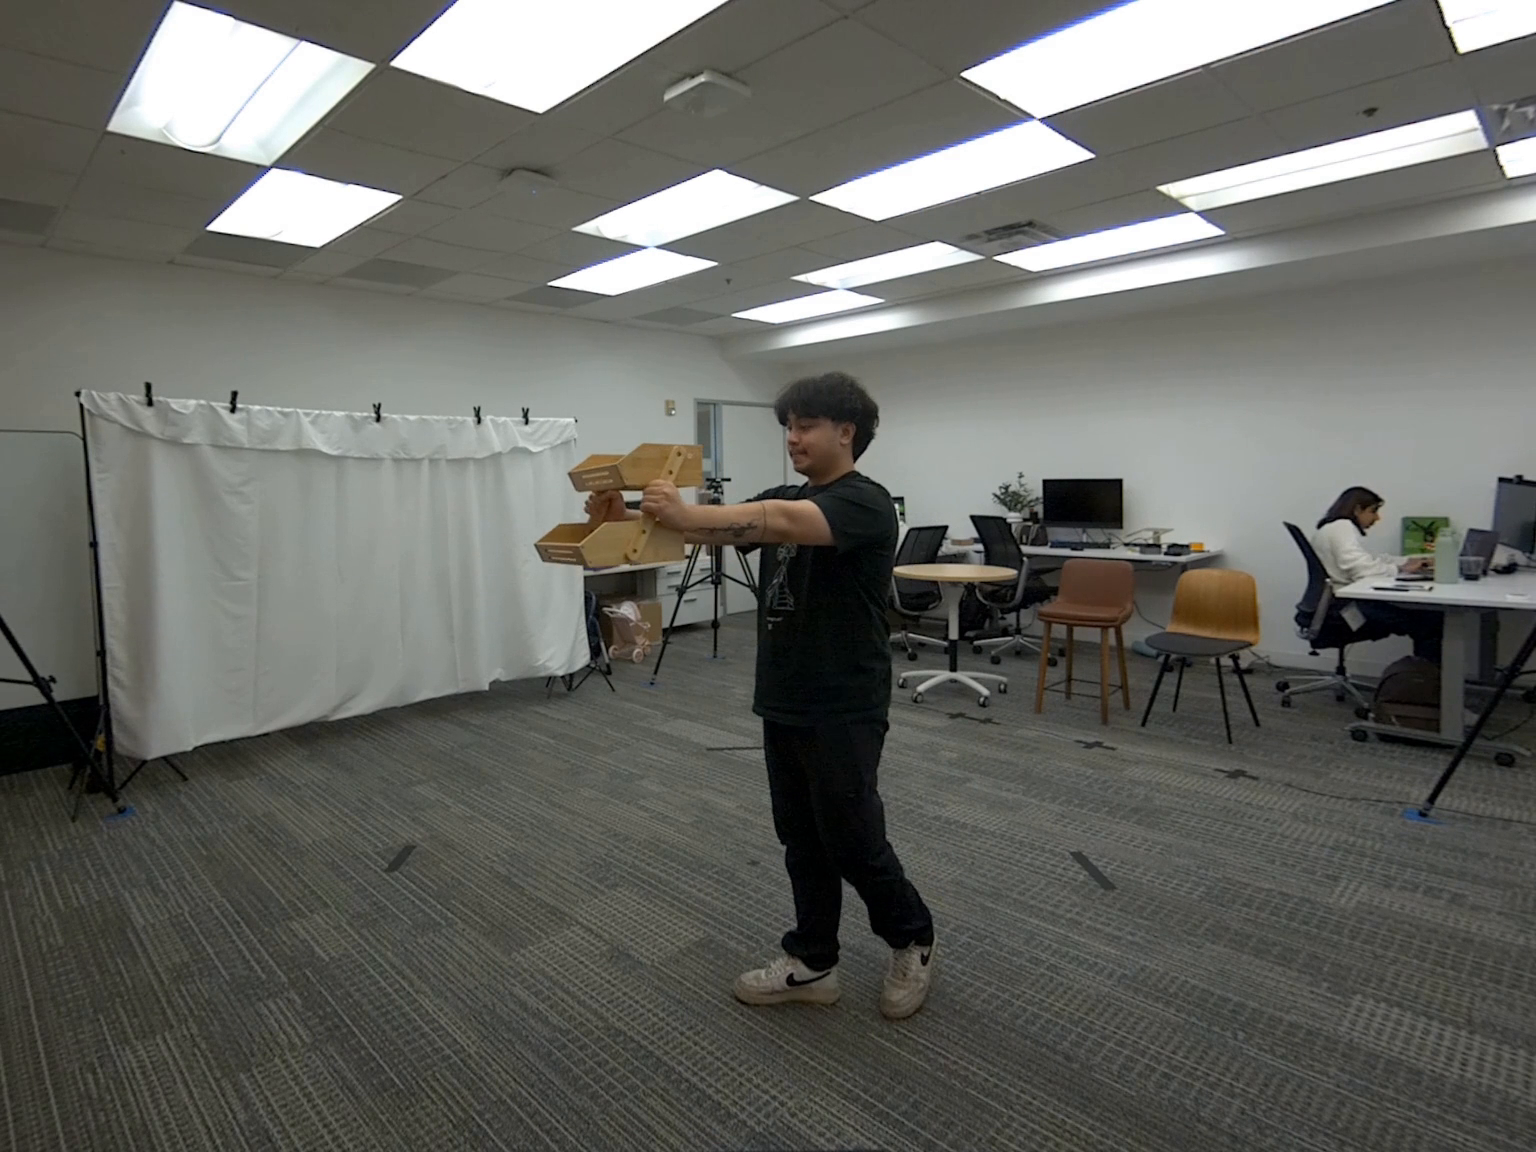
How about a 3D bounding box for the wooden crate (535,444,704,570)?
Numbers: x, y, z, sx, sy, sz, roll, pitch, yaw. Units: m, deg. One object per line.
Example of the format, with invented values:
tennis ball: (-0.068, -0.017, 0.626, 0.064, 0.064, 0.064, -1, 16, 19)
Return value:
wooden crate: (-0.354, -0.171, 1.985, 0.295, 0.273, 0.333, -3, 3, -31)
